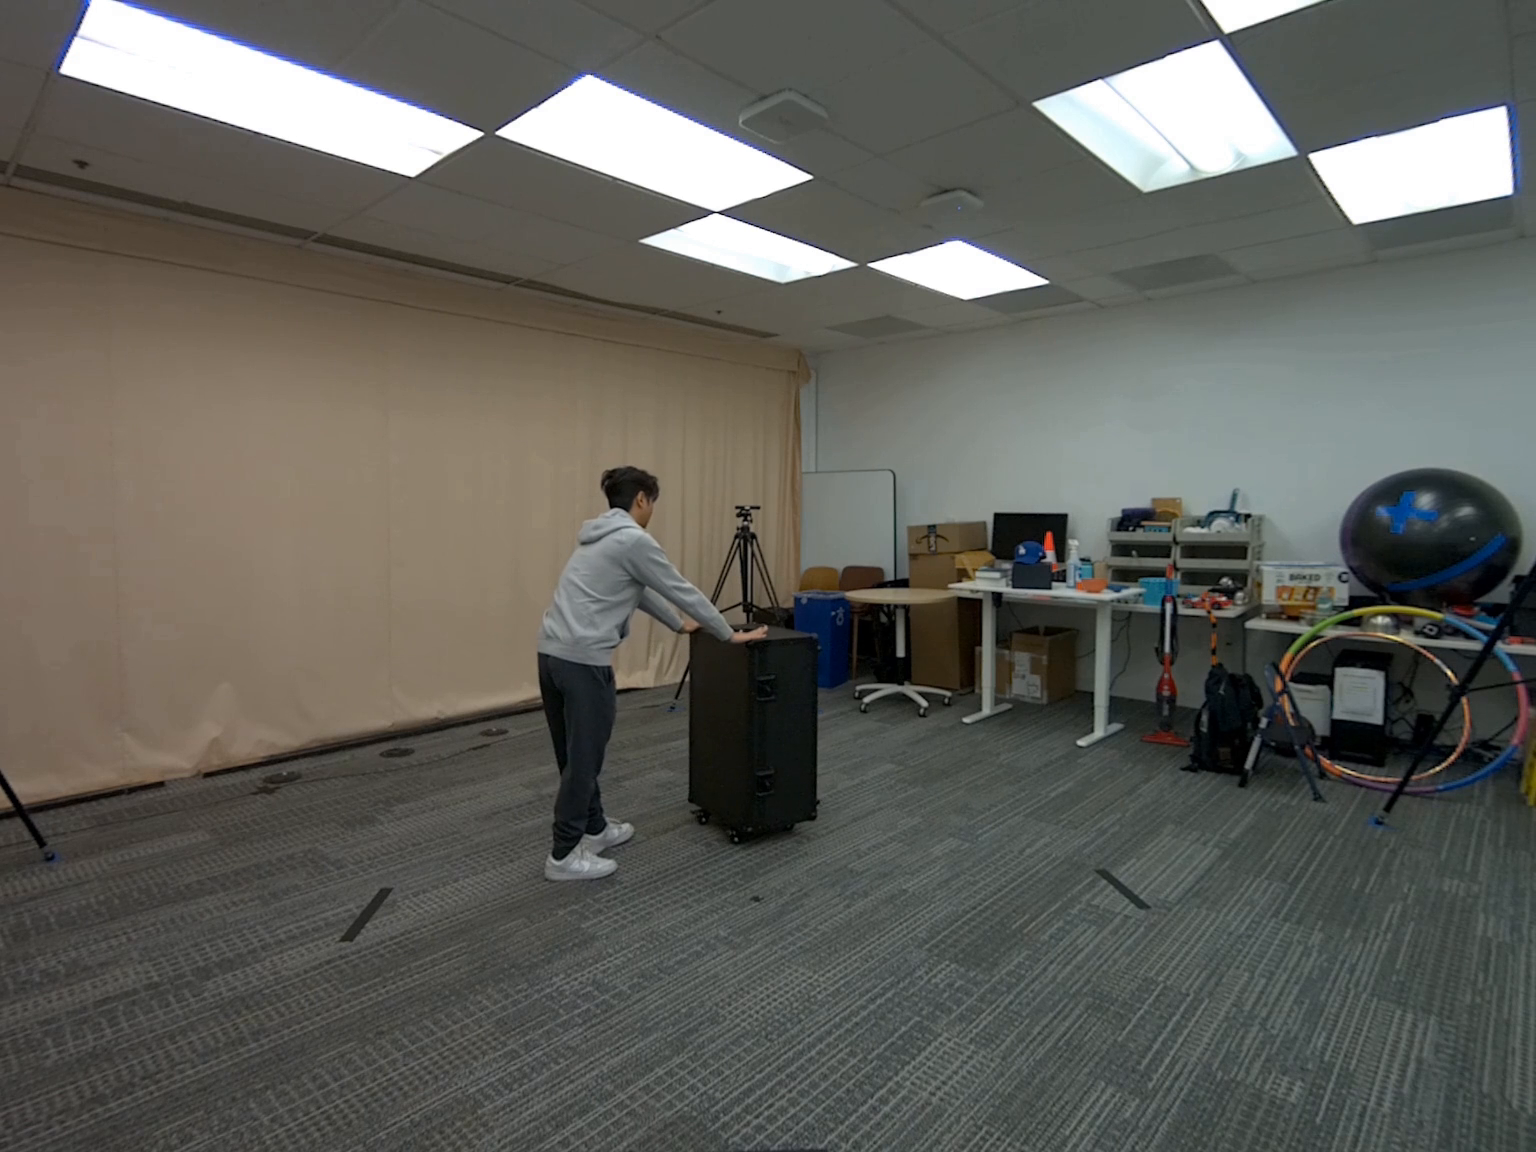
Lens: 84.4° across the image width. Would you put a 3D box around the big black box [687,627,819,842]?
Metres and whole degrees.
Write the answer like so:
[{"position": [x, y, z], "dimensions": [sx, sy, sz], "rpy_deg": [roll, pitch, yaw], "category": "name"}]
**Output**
[{"position": [-0.062, 0.668, 3.668], "dimensions": [0.384, 0.860, 0.537], "rpy_deg": [0, 3, -35], "category": "big black box"}]
